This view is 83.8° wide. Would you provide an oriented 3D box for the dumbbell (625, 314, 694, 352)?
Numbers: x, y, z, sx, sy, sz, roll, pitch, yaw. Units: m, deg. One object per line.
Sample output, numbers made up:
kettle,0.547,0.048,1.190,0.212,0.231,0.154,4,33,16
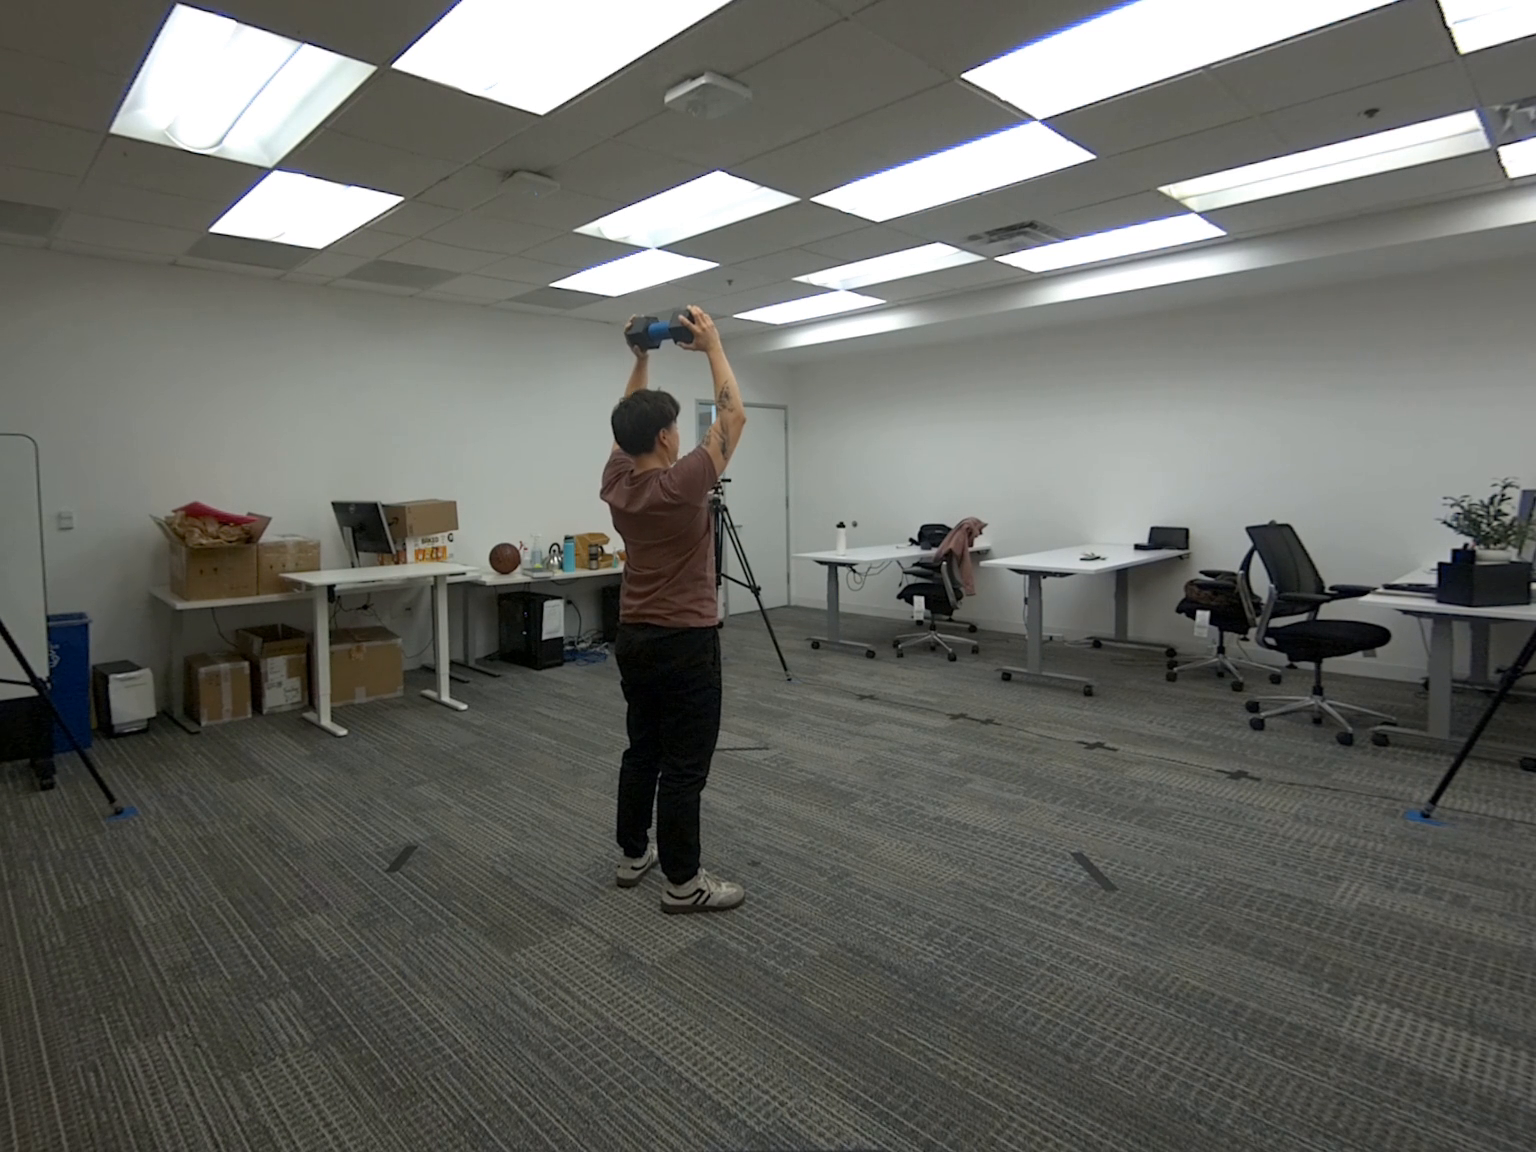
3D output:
dumbbell,-0.335,-0.803,2.843,0.303,0.119,0.109,9,49,43
